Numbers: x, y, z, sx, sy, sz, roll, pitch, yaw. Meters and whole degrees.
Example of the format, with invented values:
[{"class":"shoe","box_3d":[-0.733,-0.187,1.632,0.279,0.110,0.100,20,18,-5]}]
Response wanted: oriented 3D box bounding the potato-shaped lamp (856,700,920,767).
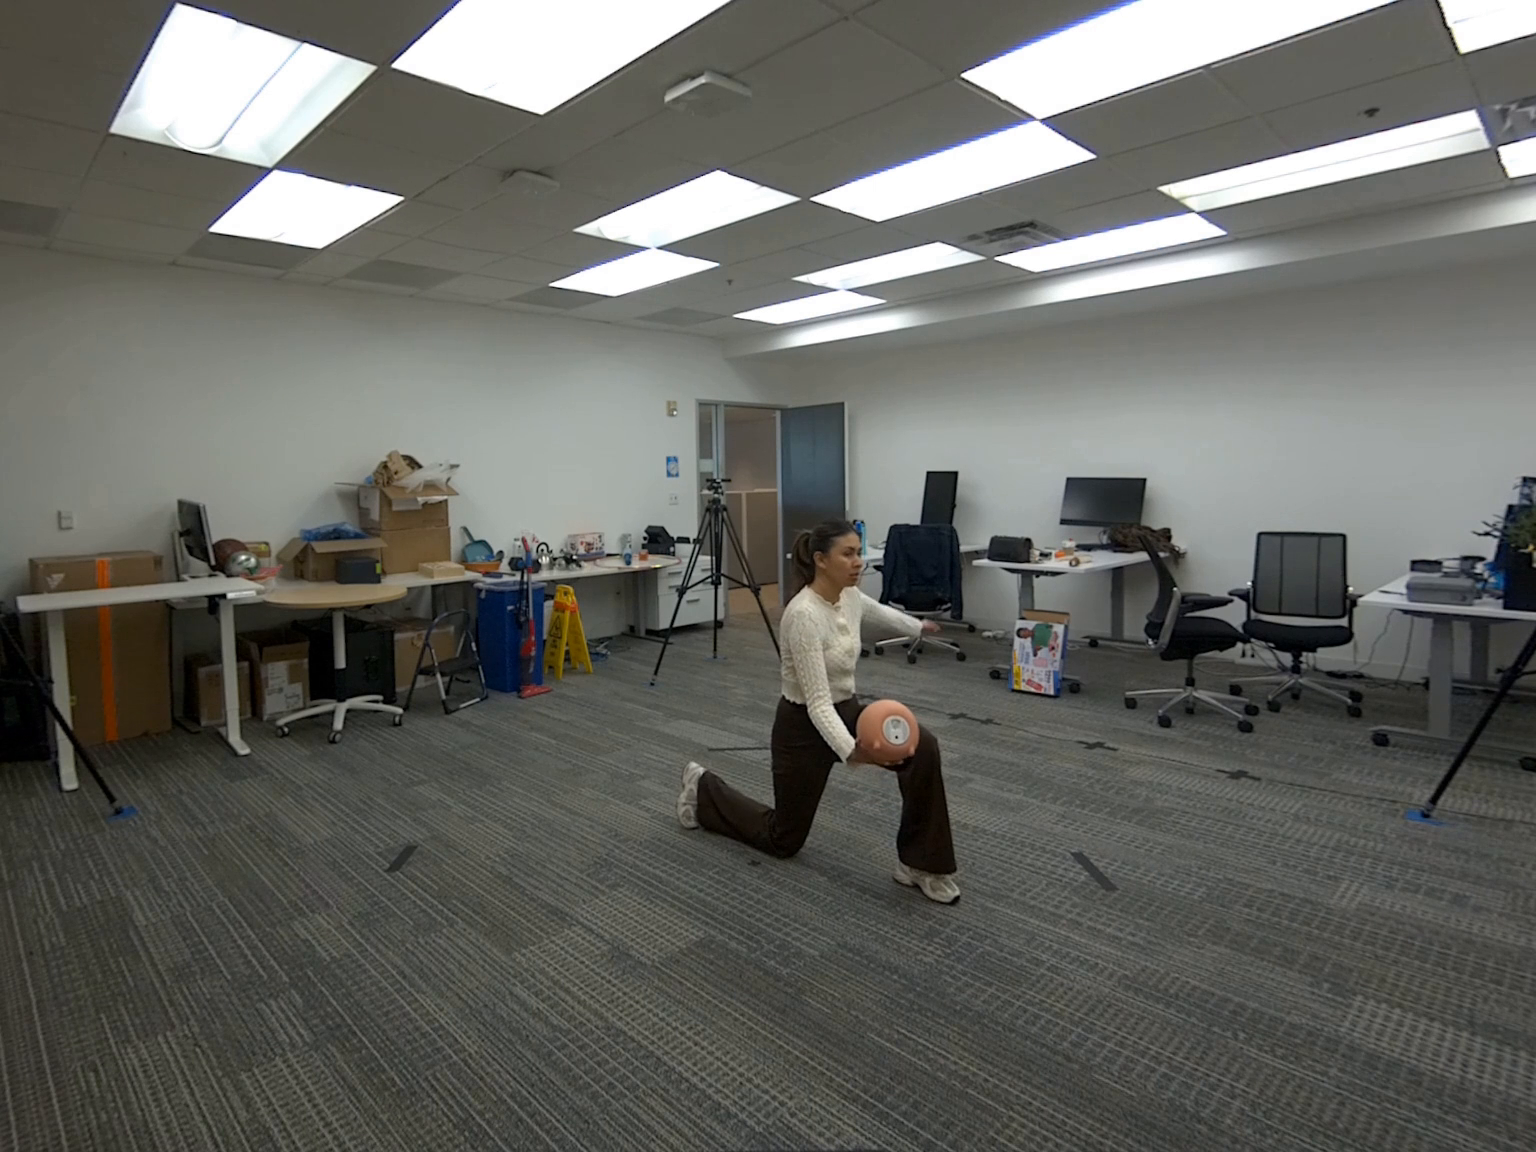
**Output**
[{"class":"potato-shaped lamp","box_3d":[0.334,0.452,2.460,0.163,0.174,0.197,17,-21,-7]}]
